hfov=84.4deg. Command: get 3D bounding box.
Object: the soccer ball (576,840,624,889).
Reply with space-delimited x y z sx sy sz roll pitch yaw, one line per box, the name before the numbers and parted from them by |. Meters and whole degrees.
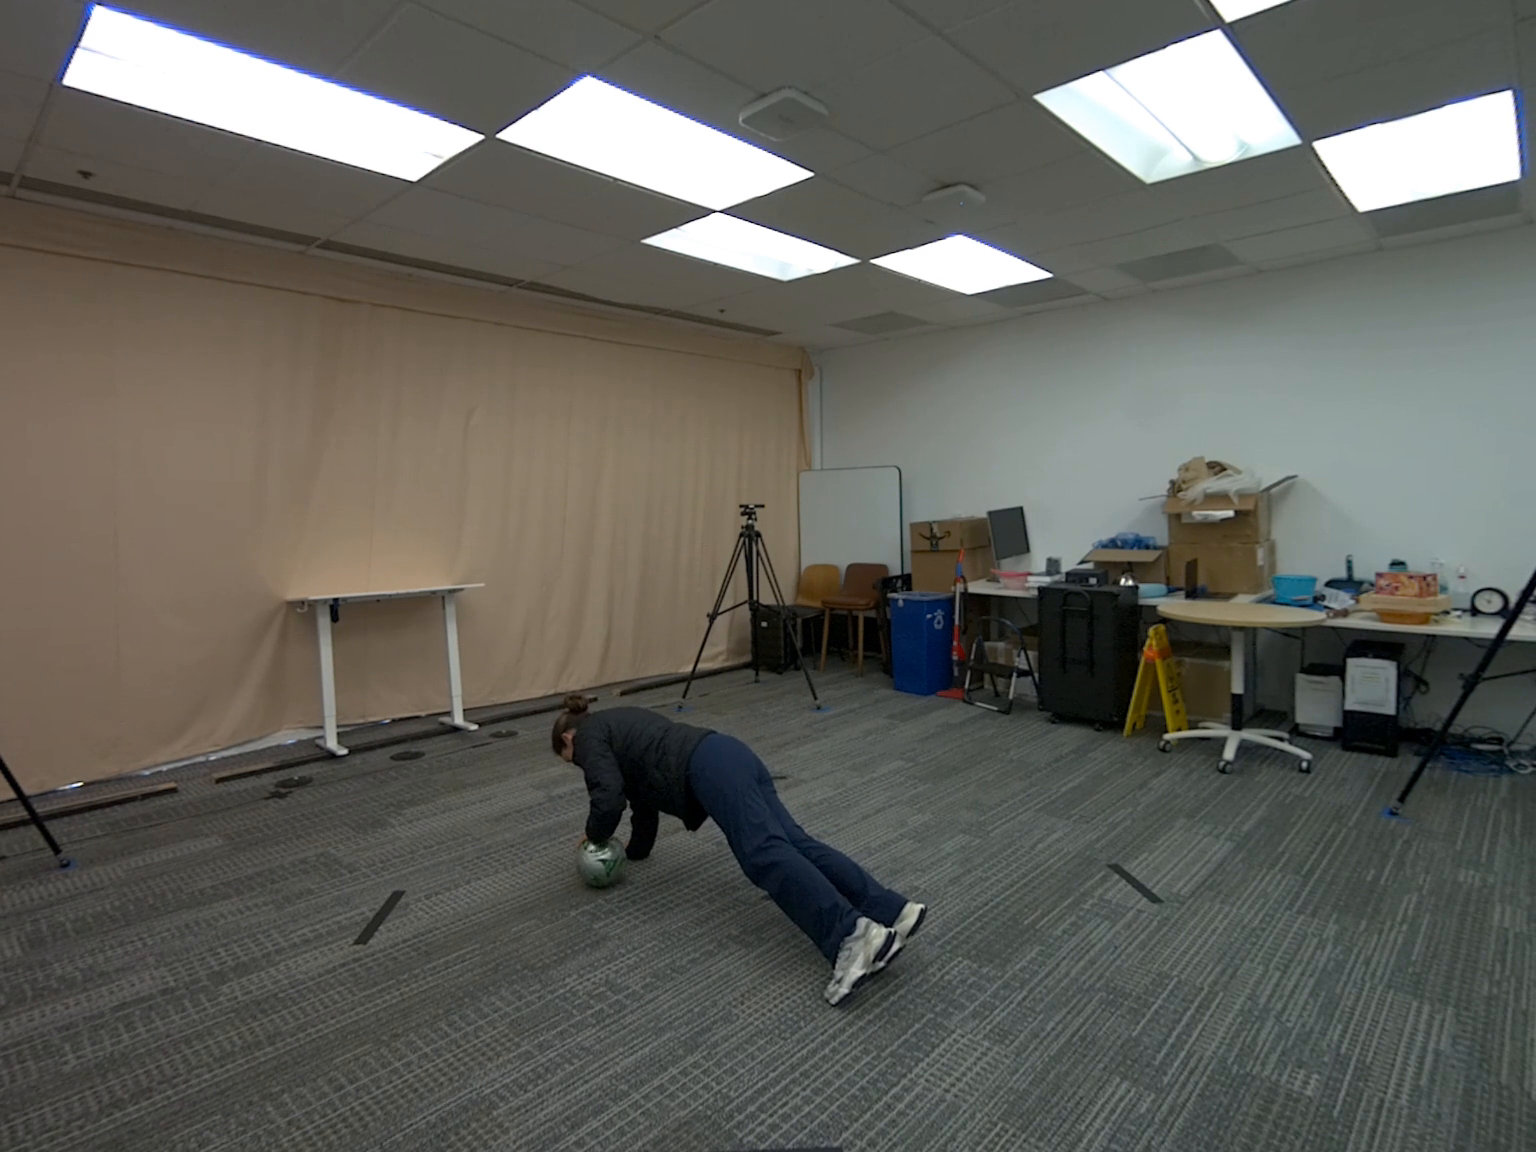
soccer ball | -0.616 1.053 3.107 0.187 0.187 0.188 -1 4 -2
